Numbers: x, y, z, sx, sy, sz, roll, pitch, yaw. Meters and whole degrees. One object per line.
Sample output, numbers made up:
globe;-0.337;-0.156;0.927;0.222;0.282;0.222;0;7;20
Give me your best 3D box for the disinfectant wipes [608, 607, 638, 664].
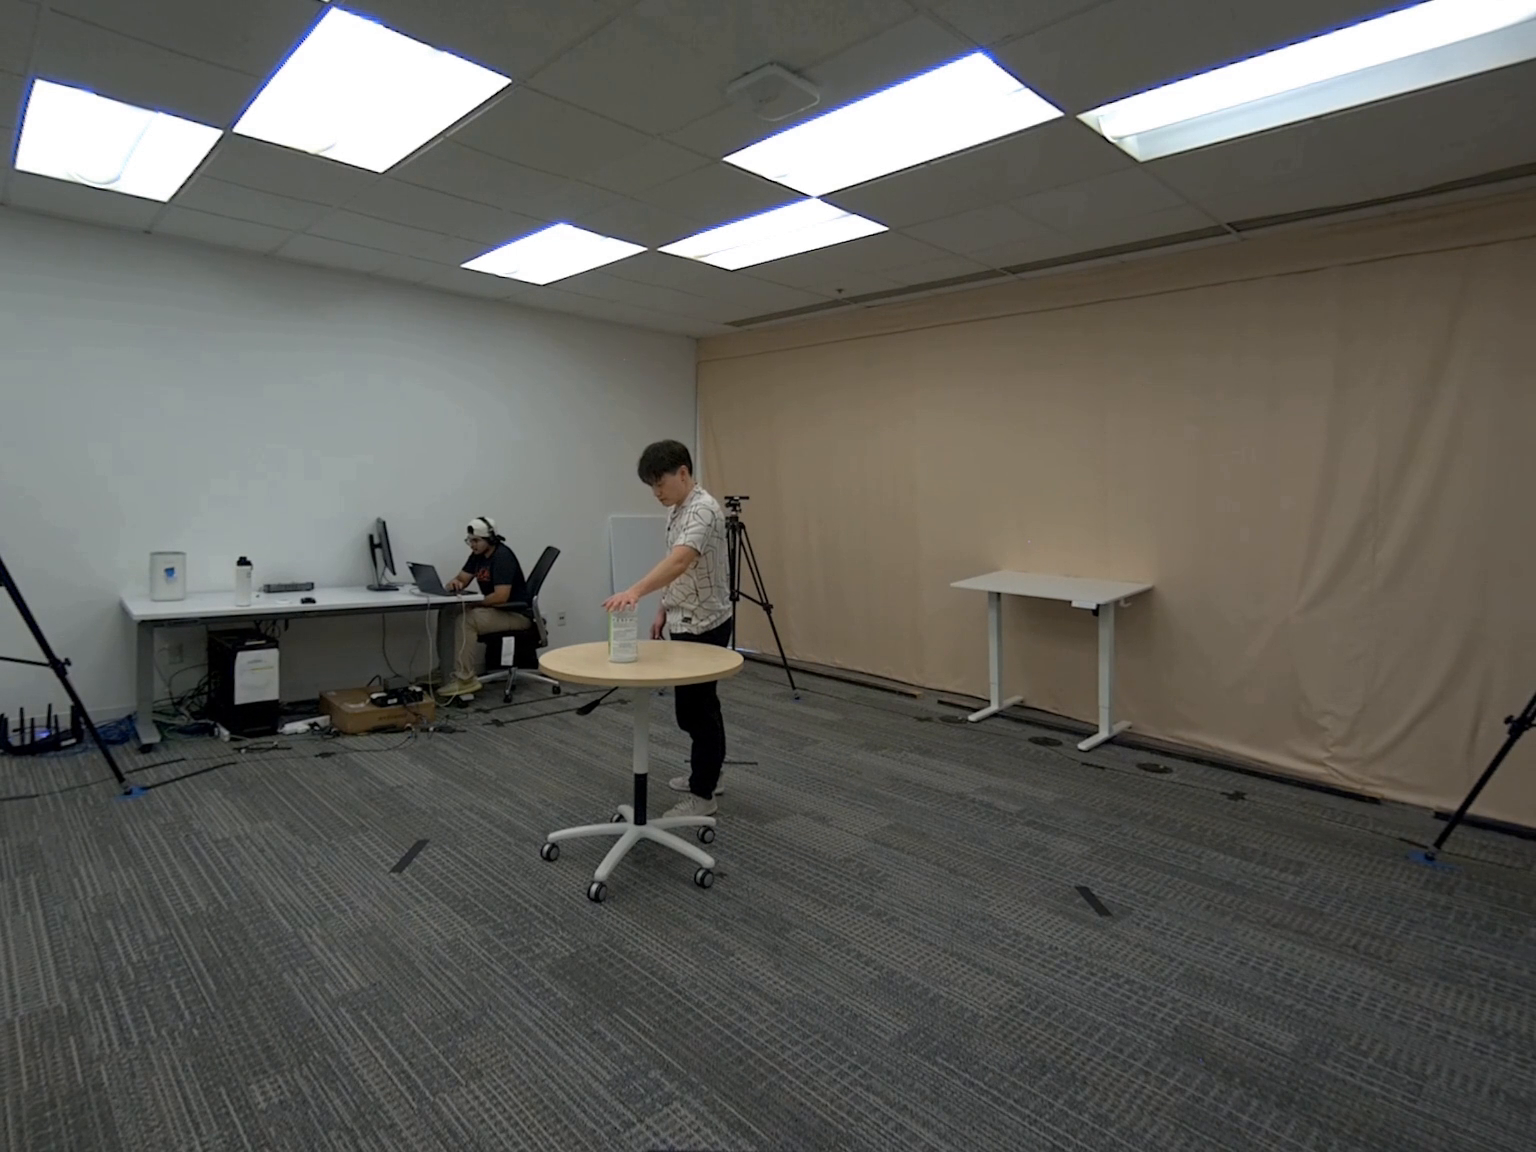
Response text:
disinfectant wipes;-0.549;0.213;3.117;0.118;0.217;0.118;0;2;-1
